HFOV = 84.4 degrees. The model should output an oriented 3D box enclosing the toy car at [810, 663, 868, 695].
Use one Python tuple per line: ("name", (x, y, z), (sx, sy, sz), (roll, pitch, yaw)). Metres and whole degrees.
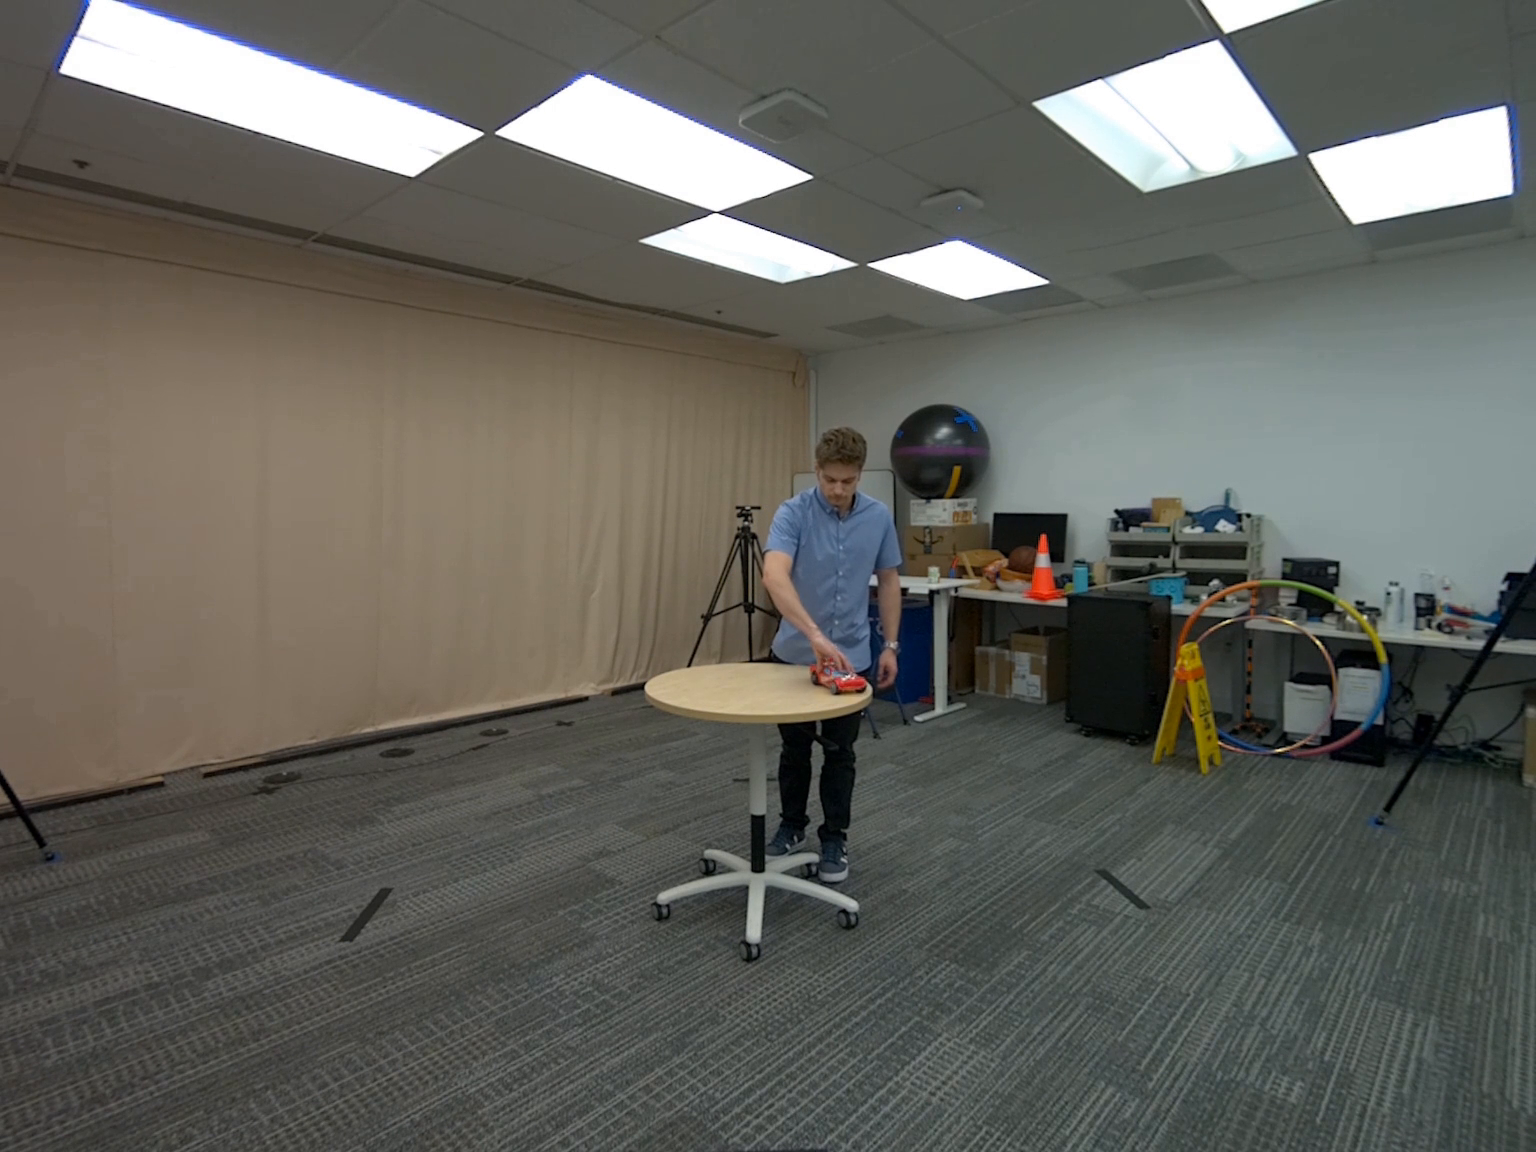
("toy car", (0.223, 0.341, 2.825), (0.128, 0.082, 0.261), (-2, 17, -19))
